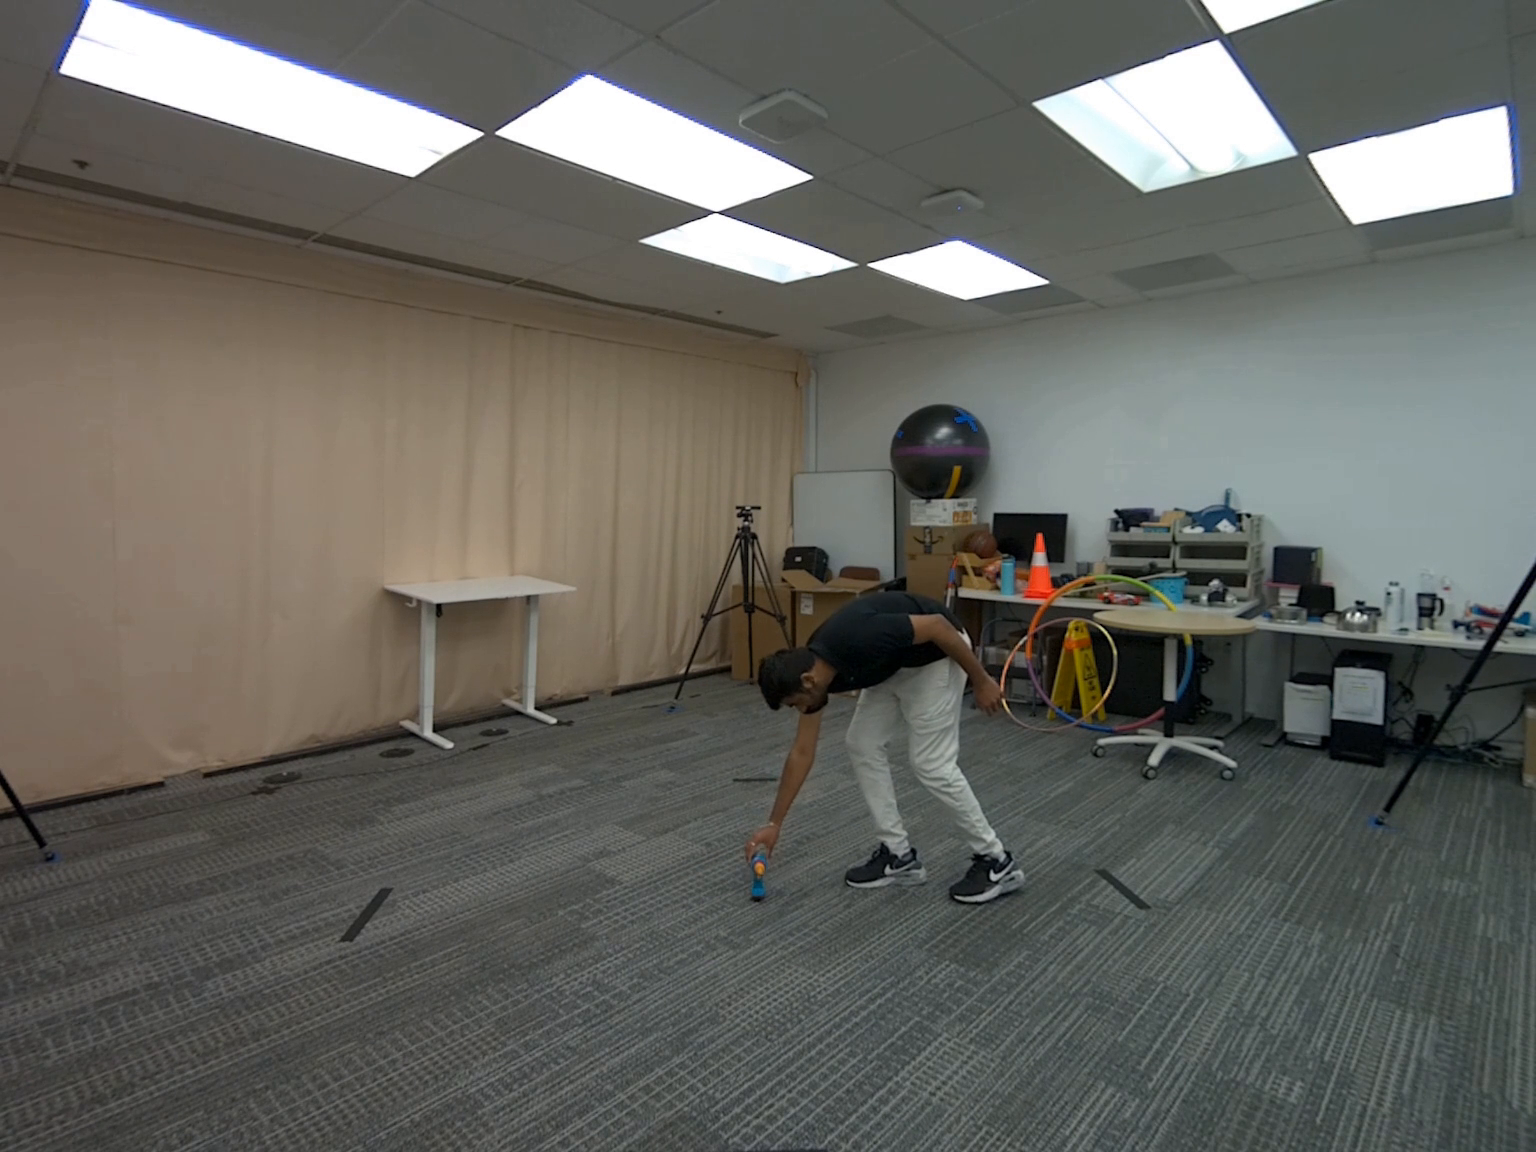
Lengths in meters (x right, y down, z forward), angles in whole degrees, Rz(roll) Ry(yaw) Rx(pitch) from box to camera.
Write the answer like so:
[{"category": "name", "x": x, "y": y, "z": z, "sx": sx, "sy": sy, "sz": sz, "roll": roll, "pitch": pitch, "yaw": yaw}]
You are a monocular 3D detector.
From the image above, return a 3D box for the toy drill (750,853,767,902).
[{"category": "toy drill", "x": -0.032, "y": 1.044, "z": 2.959, "sx": 0.061, "sy": 0.146, "sz": 0.170, "roll": 0, "pitch": -2, "yaw": -3}]
